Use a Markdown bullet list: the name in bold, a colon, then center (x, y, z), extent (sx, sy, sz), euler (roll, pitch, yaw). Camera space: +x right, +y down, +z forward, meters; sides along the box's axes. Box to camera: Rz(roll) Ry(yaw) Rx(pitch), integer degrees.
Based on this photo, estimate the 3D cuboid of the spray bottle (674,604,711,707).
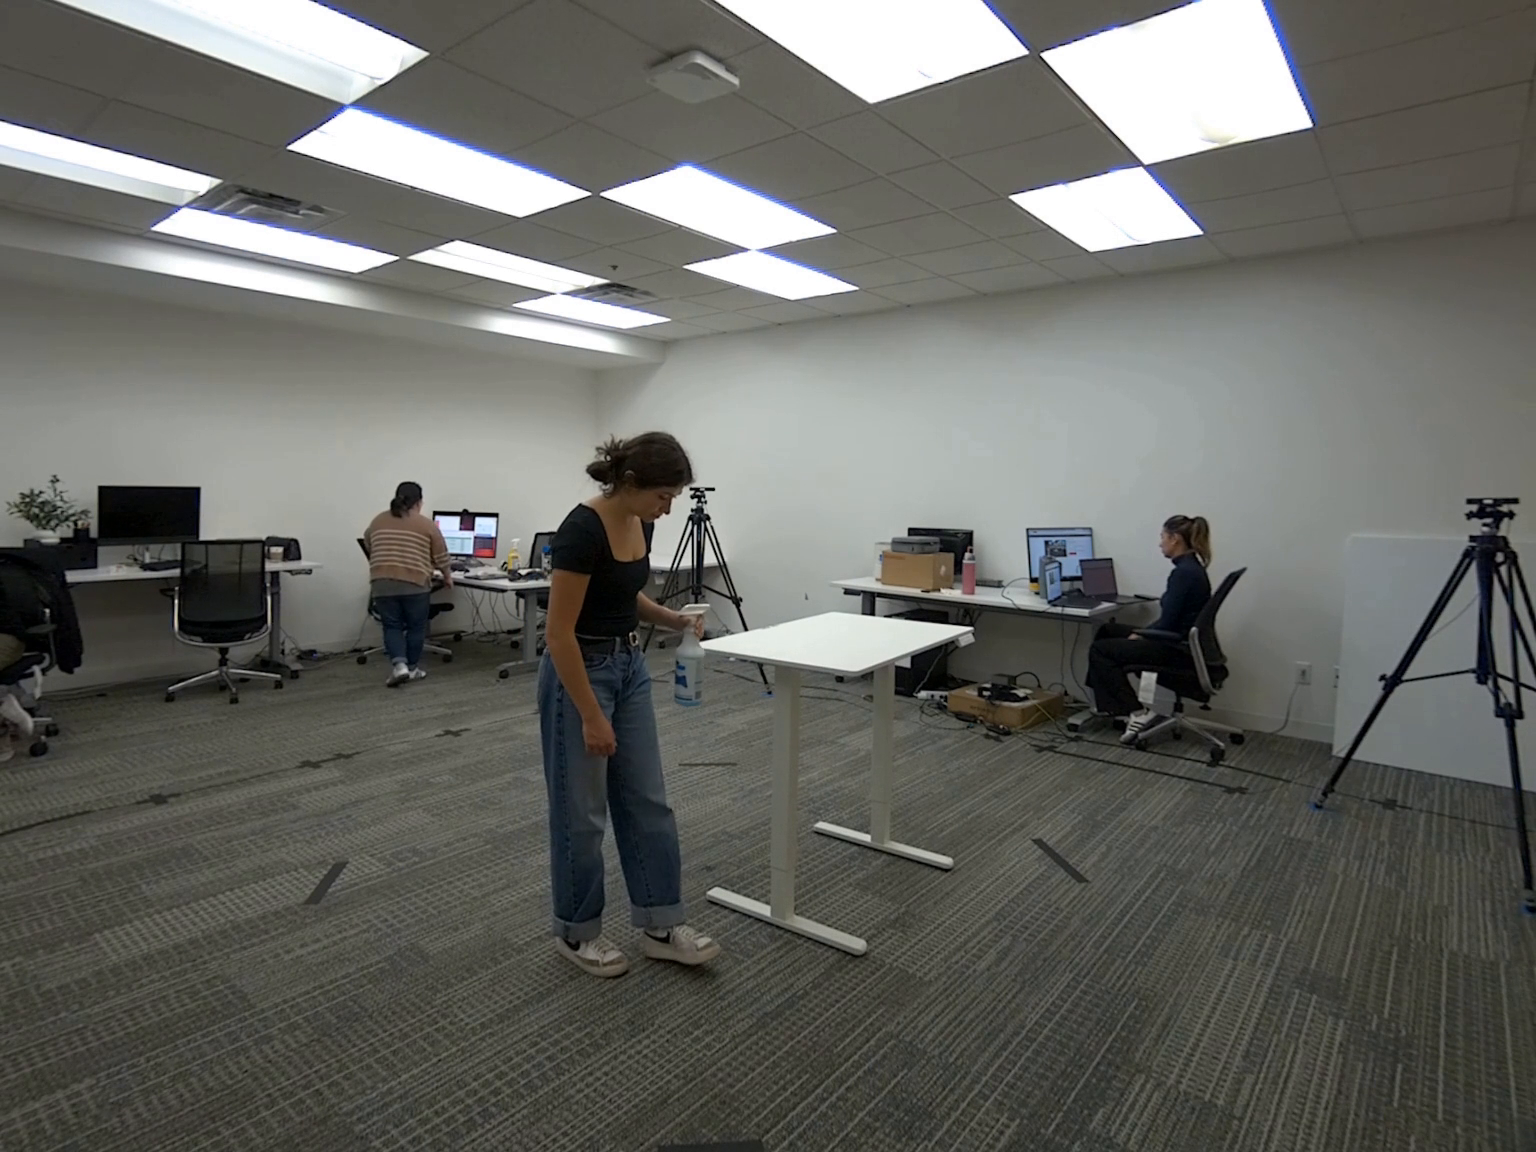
- **spray bottle**: center (-0.238, 0.234, 2.480), extent (0.091, 0.295, 0.087), euler (5, 7, 5)
